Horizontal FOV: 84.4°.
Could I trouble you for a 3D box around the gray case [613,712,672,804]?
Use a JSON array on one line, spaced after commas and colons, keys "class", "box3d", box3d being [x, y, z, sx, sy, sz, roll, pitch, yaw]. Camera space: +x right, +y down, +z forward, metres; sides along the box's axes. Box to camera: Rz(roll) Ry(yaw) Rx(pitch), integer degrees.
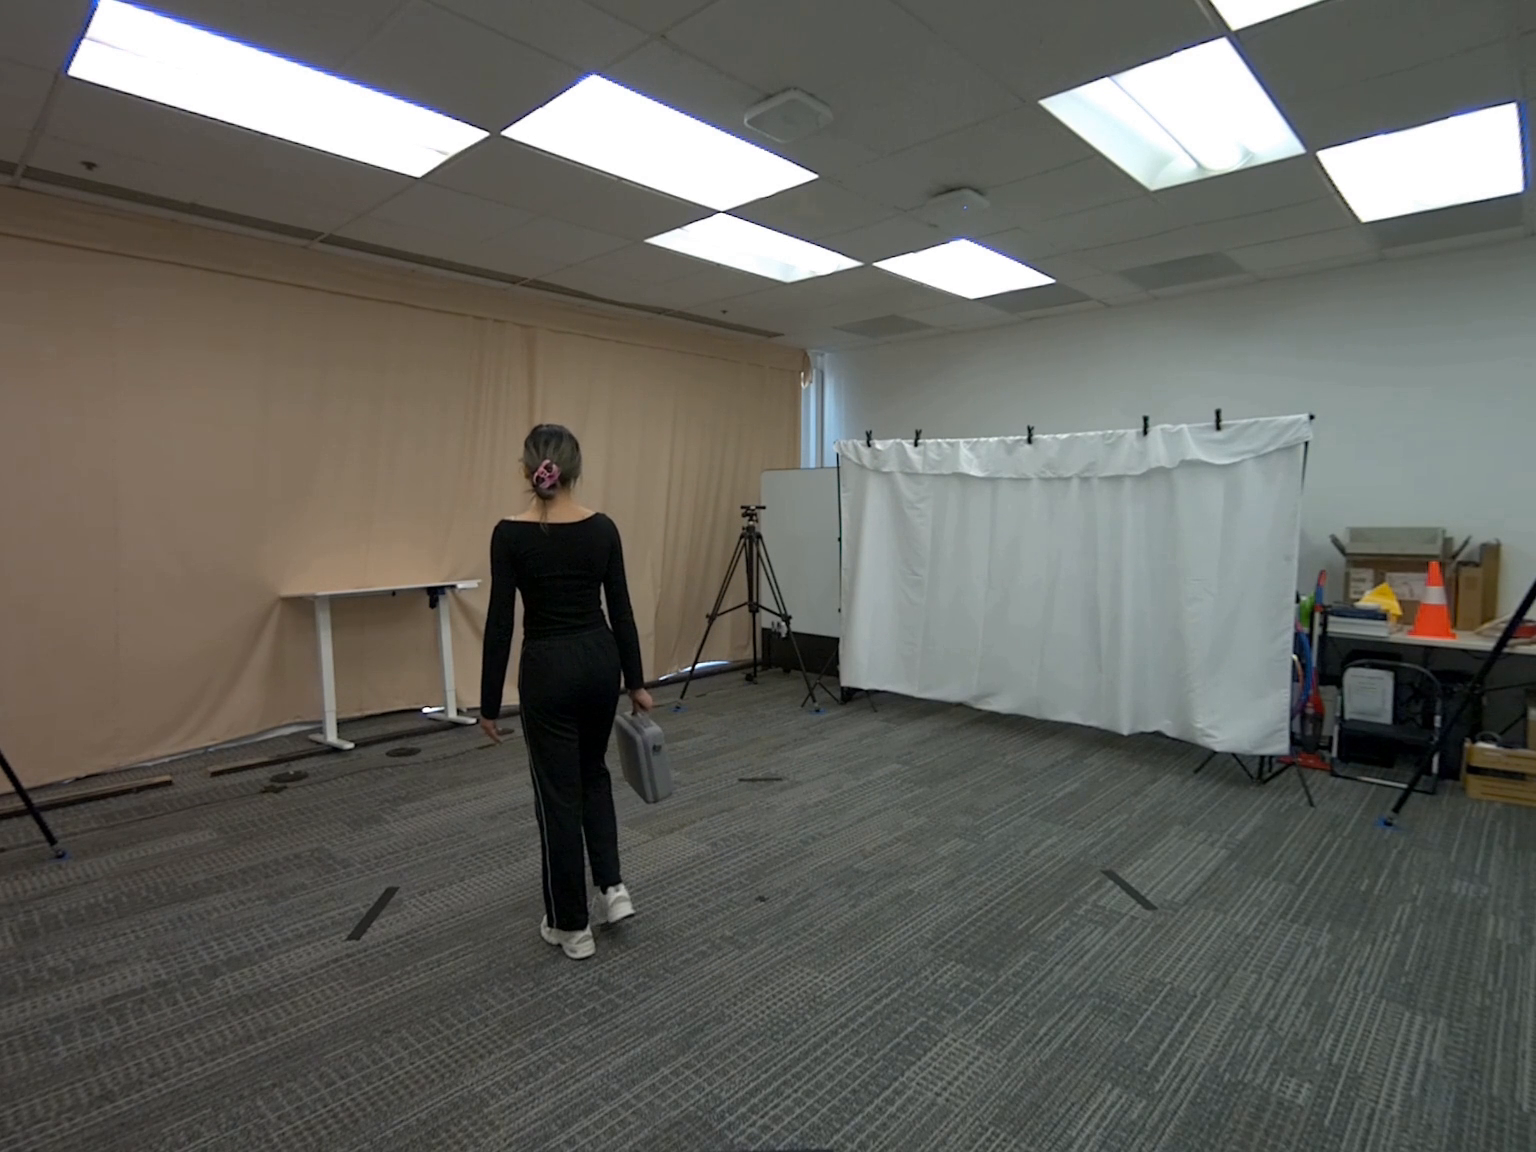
[{"class": "gray case", "box3d": [-0.421, 0.600, 2.833, 0.102, 0.258, 0.264, -10, 13, -24]}]
